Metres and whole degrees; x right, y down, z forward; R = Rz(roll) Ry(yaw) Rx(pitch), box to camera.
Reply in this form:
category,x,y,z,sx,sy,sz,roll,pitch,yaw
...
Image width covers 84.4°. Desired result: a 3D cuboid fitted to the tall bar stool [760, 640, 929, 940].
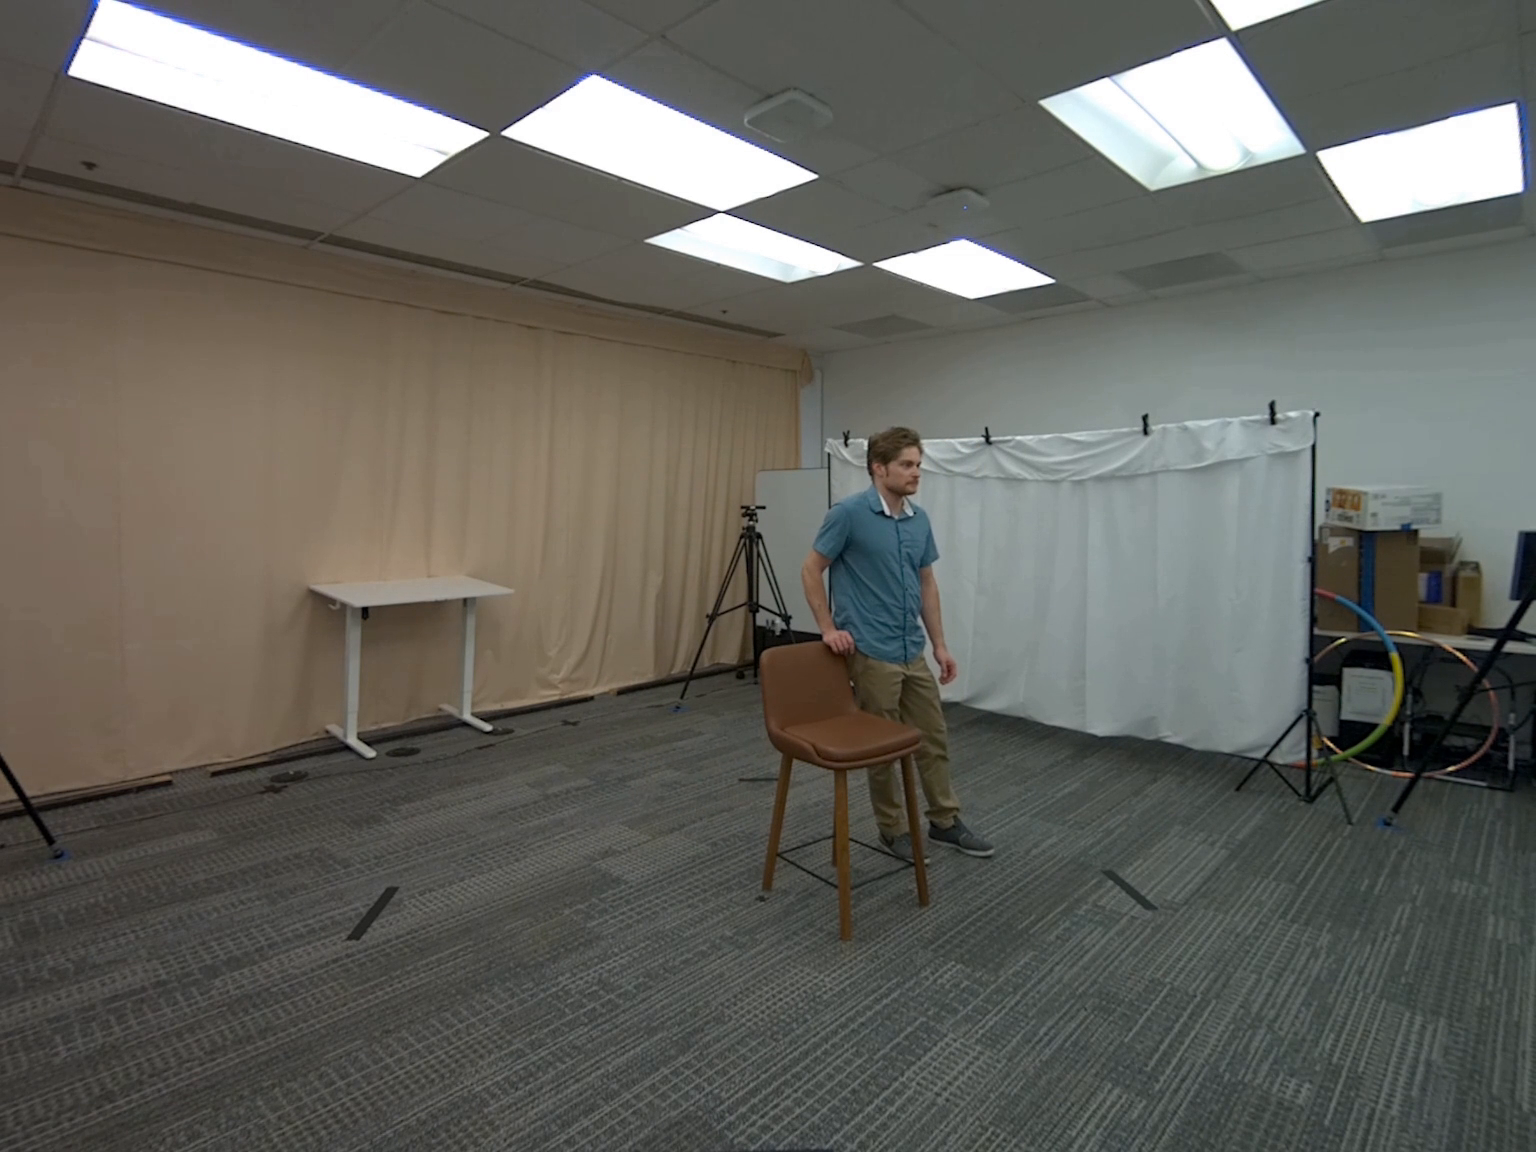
category,x,y,z,sx,sy,sz,roll,pitch,yaw
tall bar stool,0.256,0.710,2.969,0.443,0.889,0.482,-3,2,-38
